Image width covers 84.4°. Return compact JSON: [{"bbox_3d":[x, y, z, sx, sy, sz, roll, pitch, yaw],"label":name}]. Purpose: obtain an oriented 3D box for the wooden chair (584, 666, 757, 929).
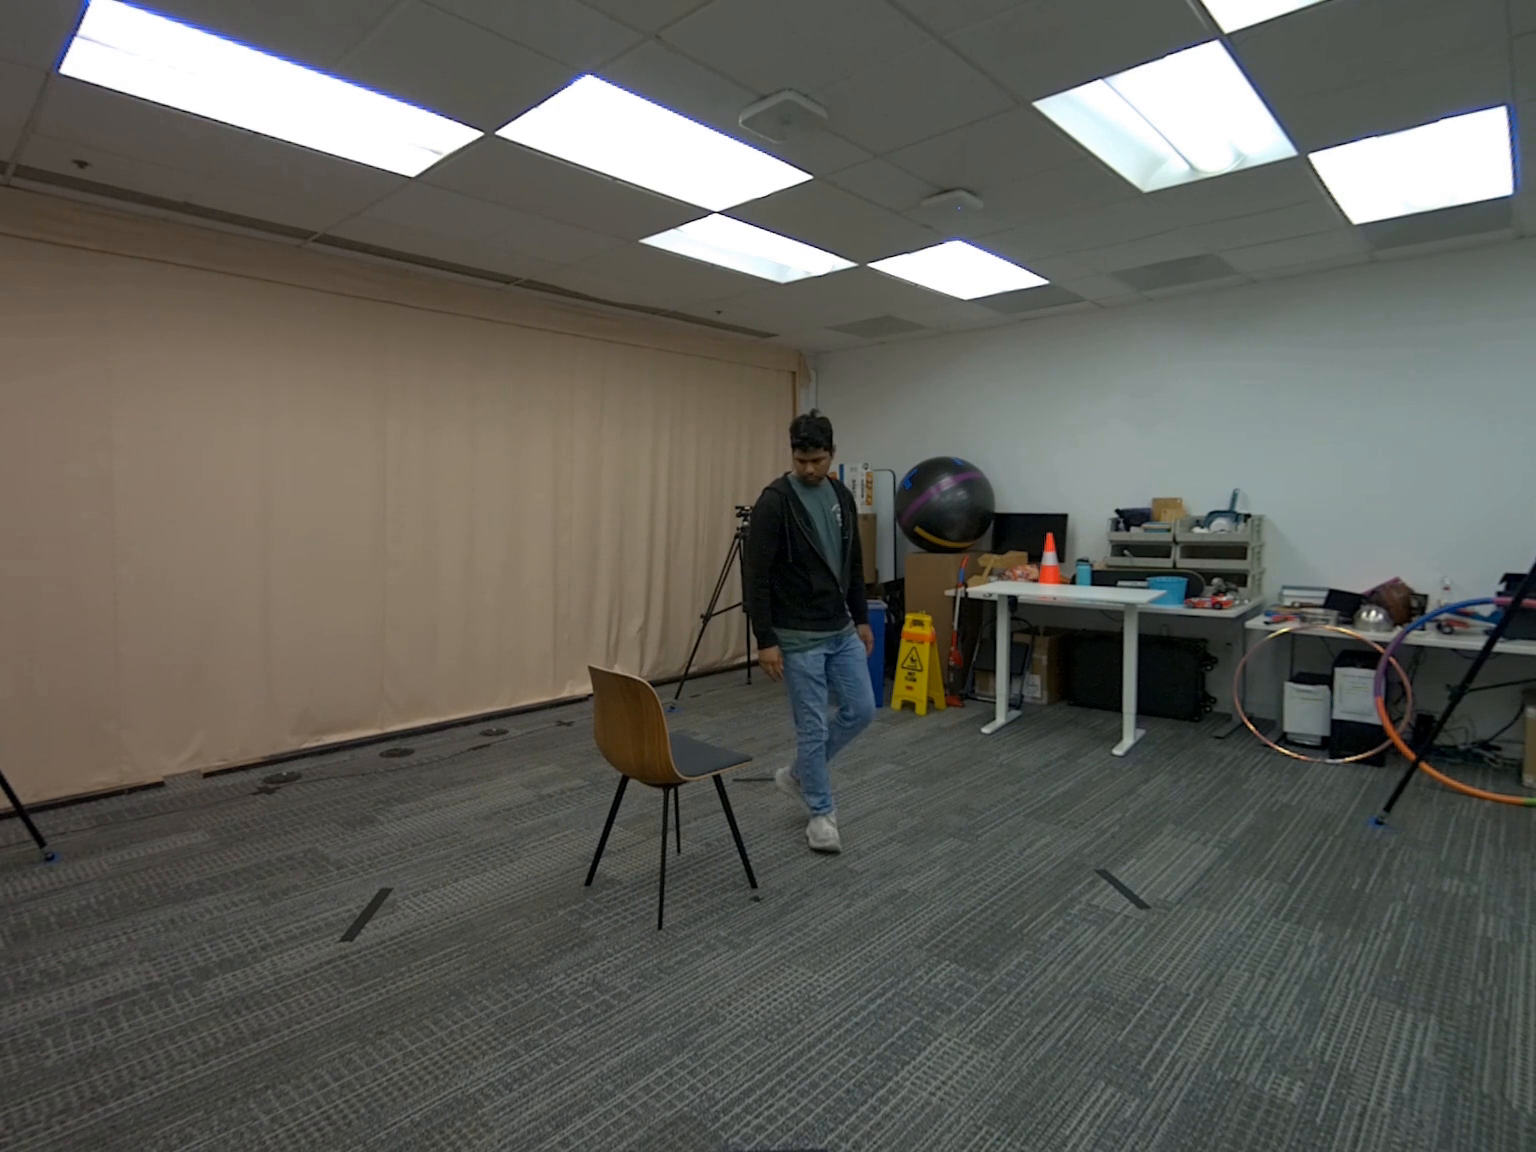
[{"bbox_3d":[-0.350,0.715,3.054,0.508,0.874,0.494,-9,8,-43],"label":"wooden chair"}]
